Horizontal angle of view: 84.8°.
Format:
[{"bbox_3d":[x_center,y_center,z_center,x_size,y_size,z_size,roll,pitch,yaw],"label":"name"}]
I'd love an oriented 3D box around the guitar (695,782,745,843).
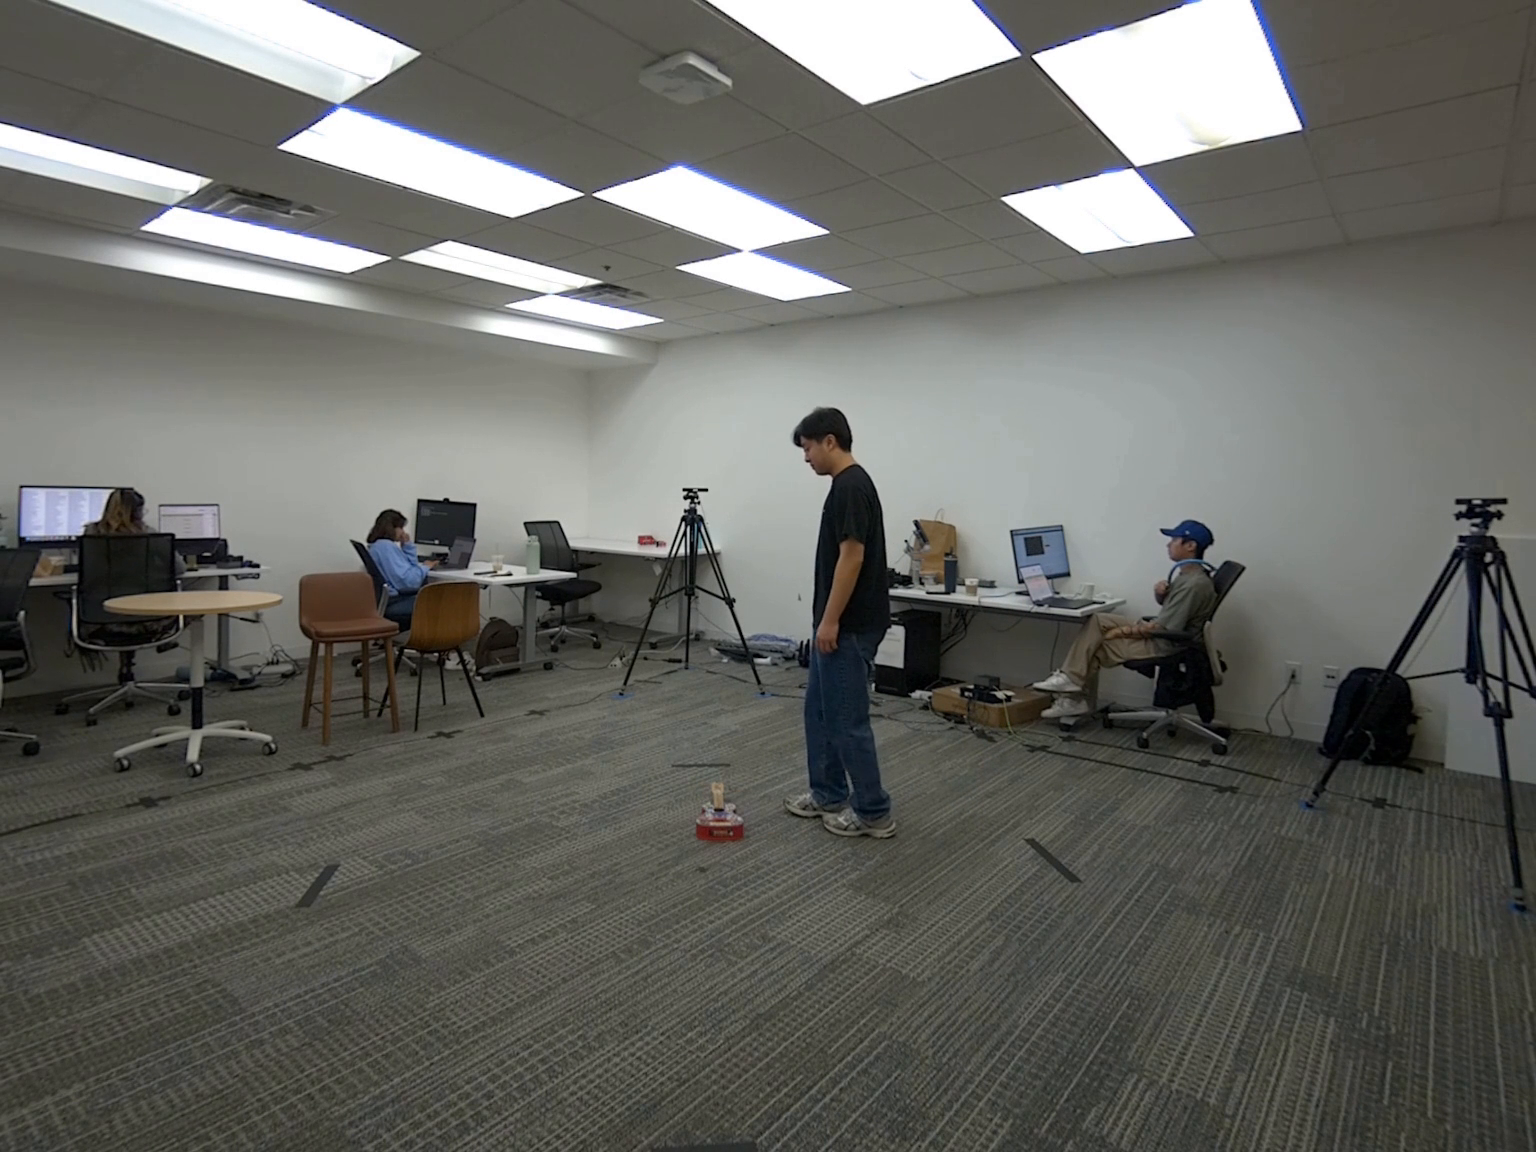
[{"bbox_3d":[-0.197,0.987,3.613,0.194,0.070,0.497,0,7,3],"label":"guitar"}]
